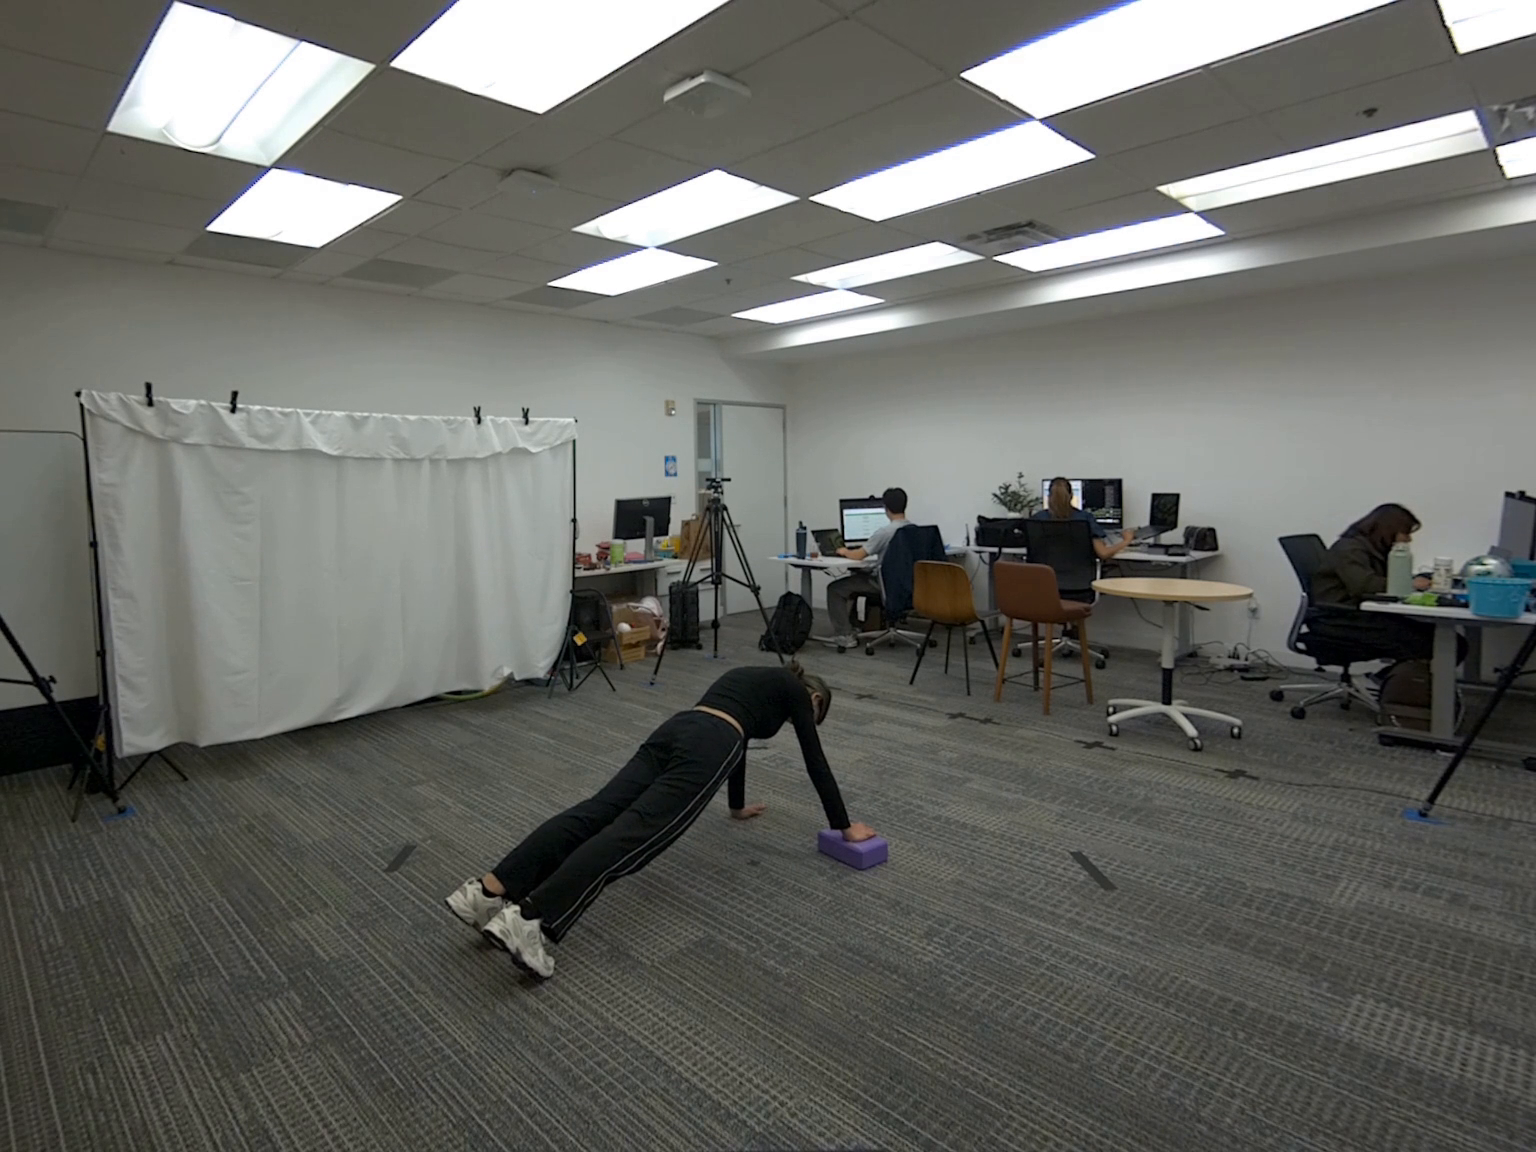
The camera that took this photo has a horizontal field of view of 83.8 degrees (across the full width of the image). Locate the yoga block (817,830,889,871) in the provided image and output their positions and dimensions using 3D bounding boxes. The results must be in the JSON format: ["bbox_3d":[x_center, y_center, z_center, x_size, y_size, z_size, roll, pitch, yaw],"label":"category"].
[{"bbox_3d":[0.311,0.994,3.152,0.145,0.076,0.236,-5,9,-37],"label":"yoga block"}]
